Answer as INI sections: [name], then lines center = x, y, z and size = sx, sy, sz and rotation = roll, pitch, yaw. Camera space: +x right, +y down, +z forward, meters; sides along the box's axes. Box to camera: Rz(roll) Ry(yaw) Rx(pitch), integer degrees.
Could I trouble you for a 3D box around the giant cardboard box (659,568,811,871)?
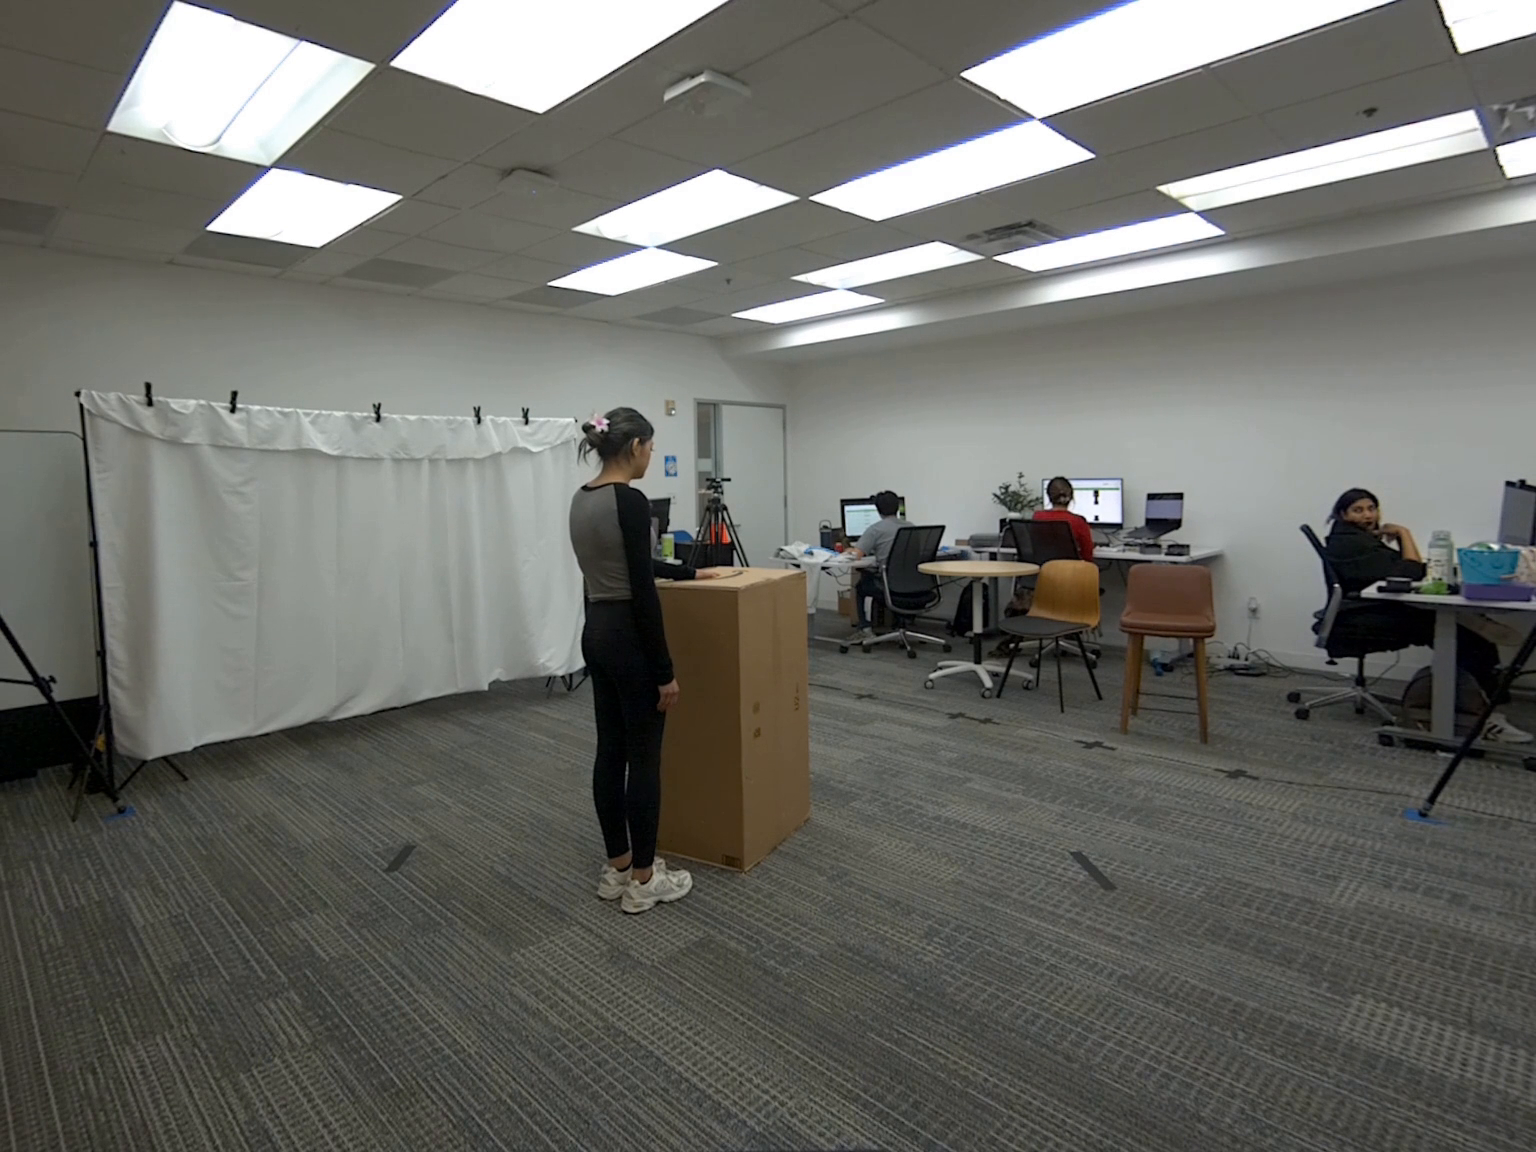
[giant cardboard box]
center = -0.150, 0.511, 3.341
size = 0.458, 1.023, 0.572
rotation = 2, 5, 28
